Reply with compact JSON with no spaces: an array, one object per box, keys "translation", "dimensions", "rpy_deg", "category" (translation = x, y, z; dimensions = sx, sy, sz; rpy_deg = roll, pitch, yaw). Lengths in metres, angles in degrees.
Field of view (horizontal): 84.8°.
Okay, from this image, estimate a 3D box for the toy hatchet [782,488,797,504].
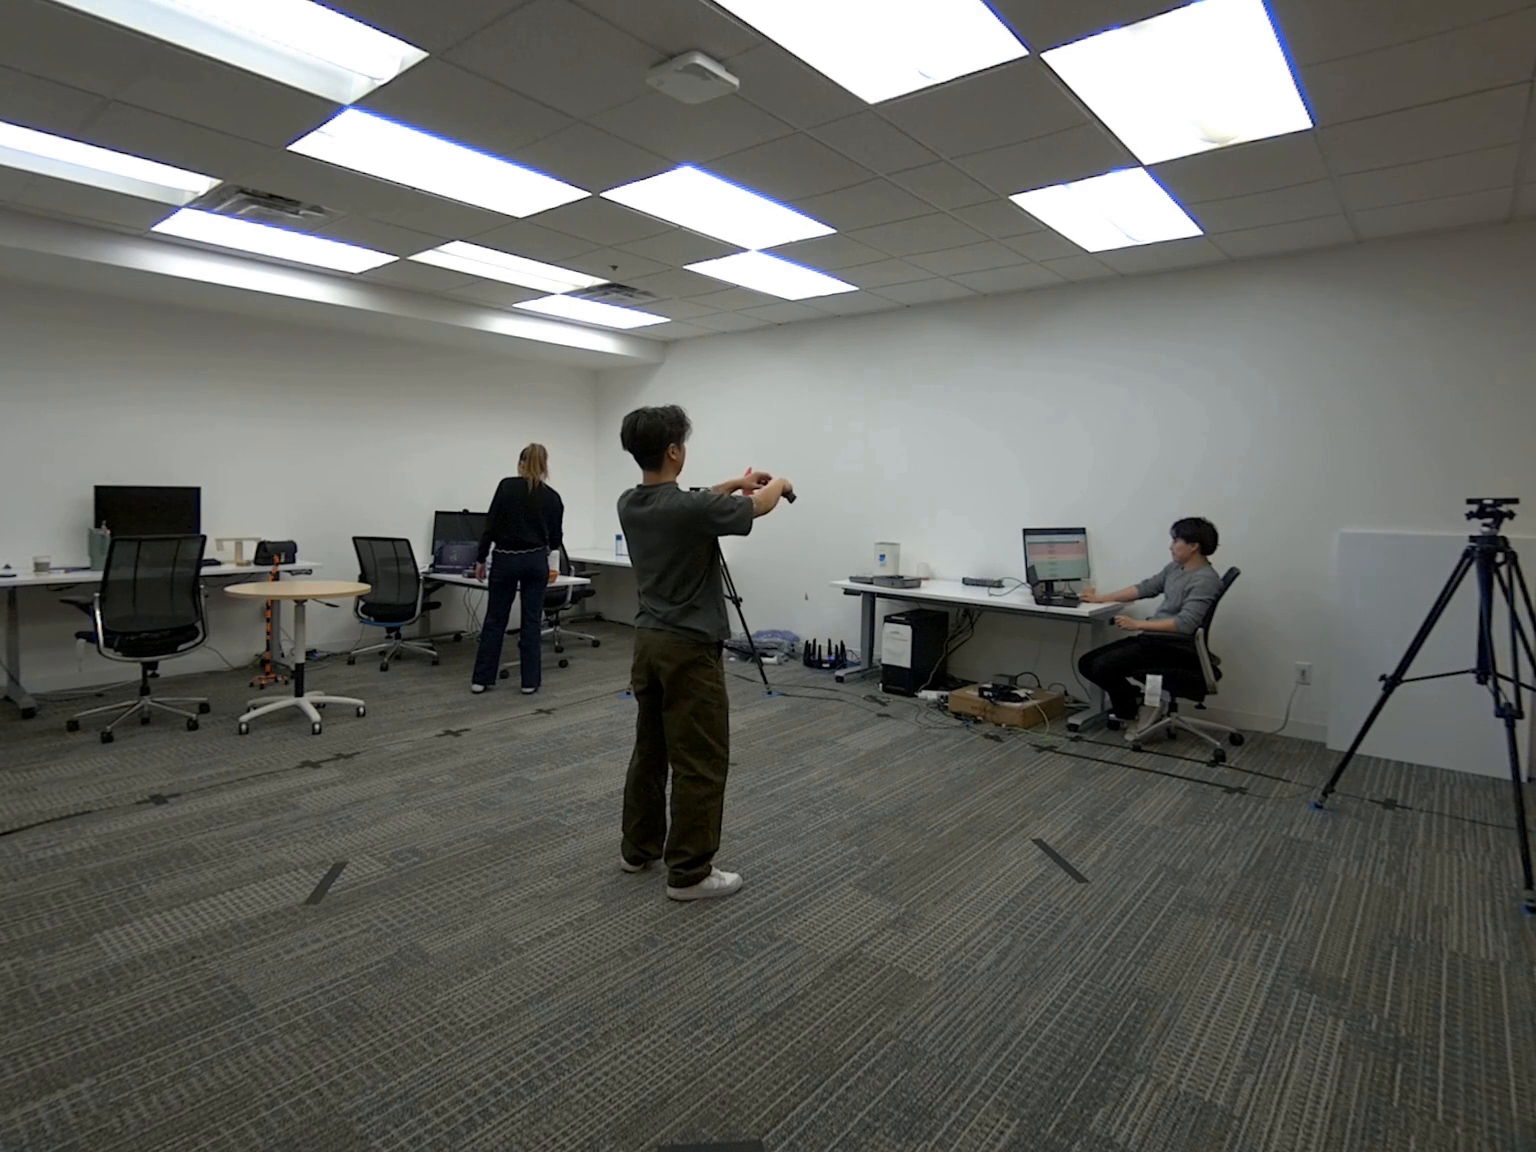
[{"translation":[-0.025,-0.324,3.356],"dimensions":[0.028,0.130,0.282],"rpy_deg":[10,21,-48],"category":"toy hatchet"}]
